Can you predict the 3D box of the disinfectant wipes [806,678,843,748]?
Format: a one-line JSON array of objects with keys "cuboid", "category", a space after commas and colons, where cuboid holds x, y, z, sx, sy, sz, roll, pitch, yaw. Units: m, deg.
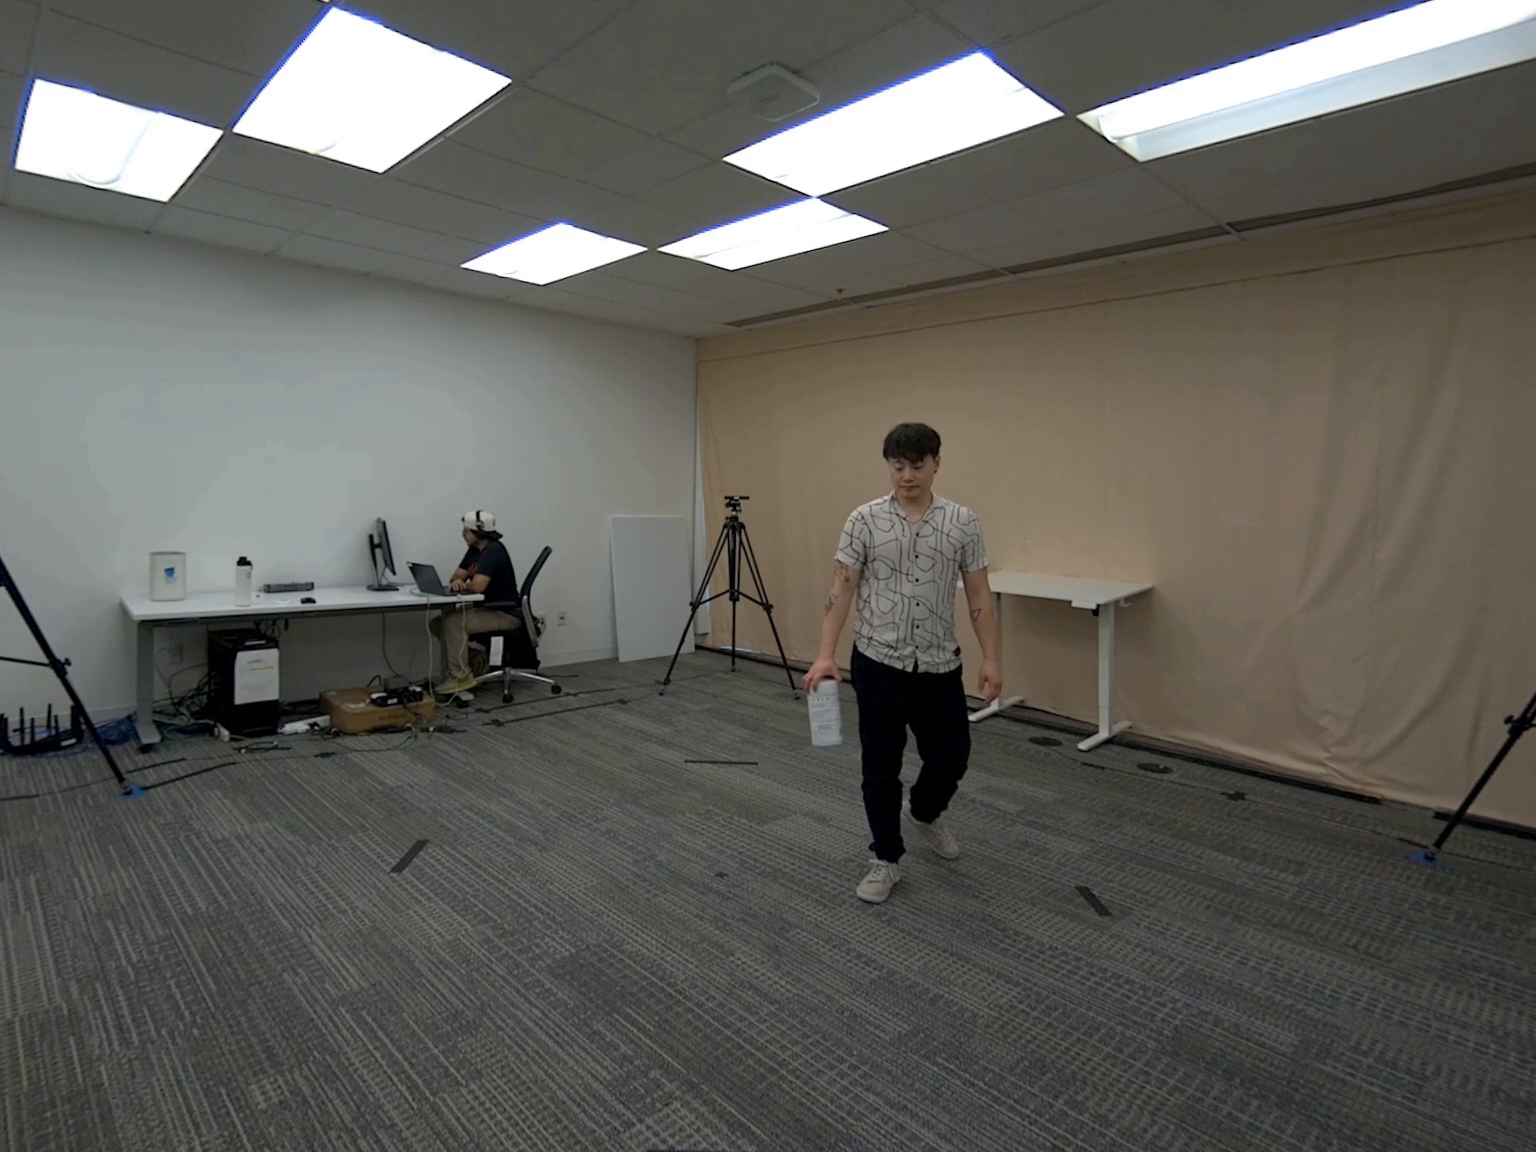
[{"cuboid": [0.197, 0.467, 2.892, 0.117, 0.218, 0.117, -7, -6, -2], "category": "disinfectant wipes"}]
